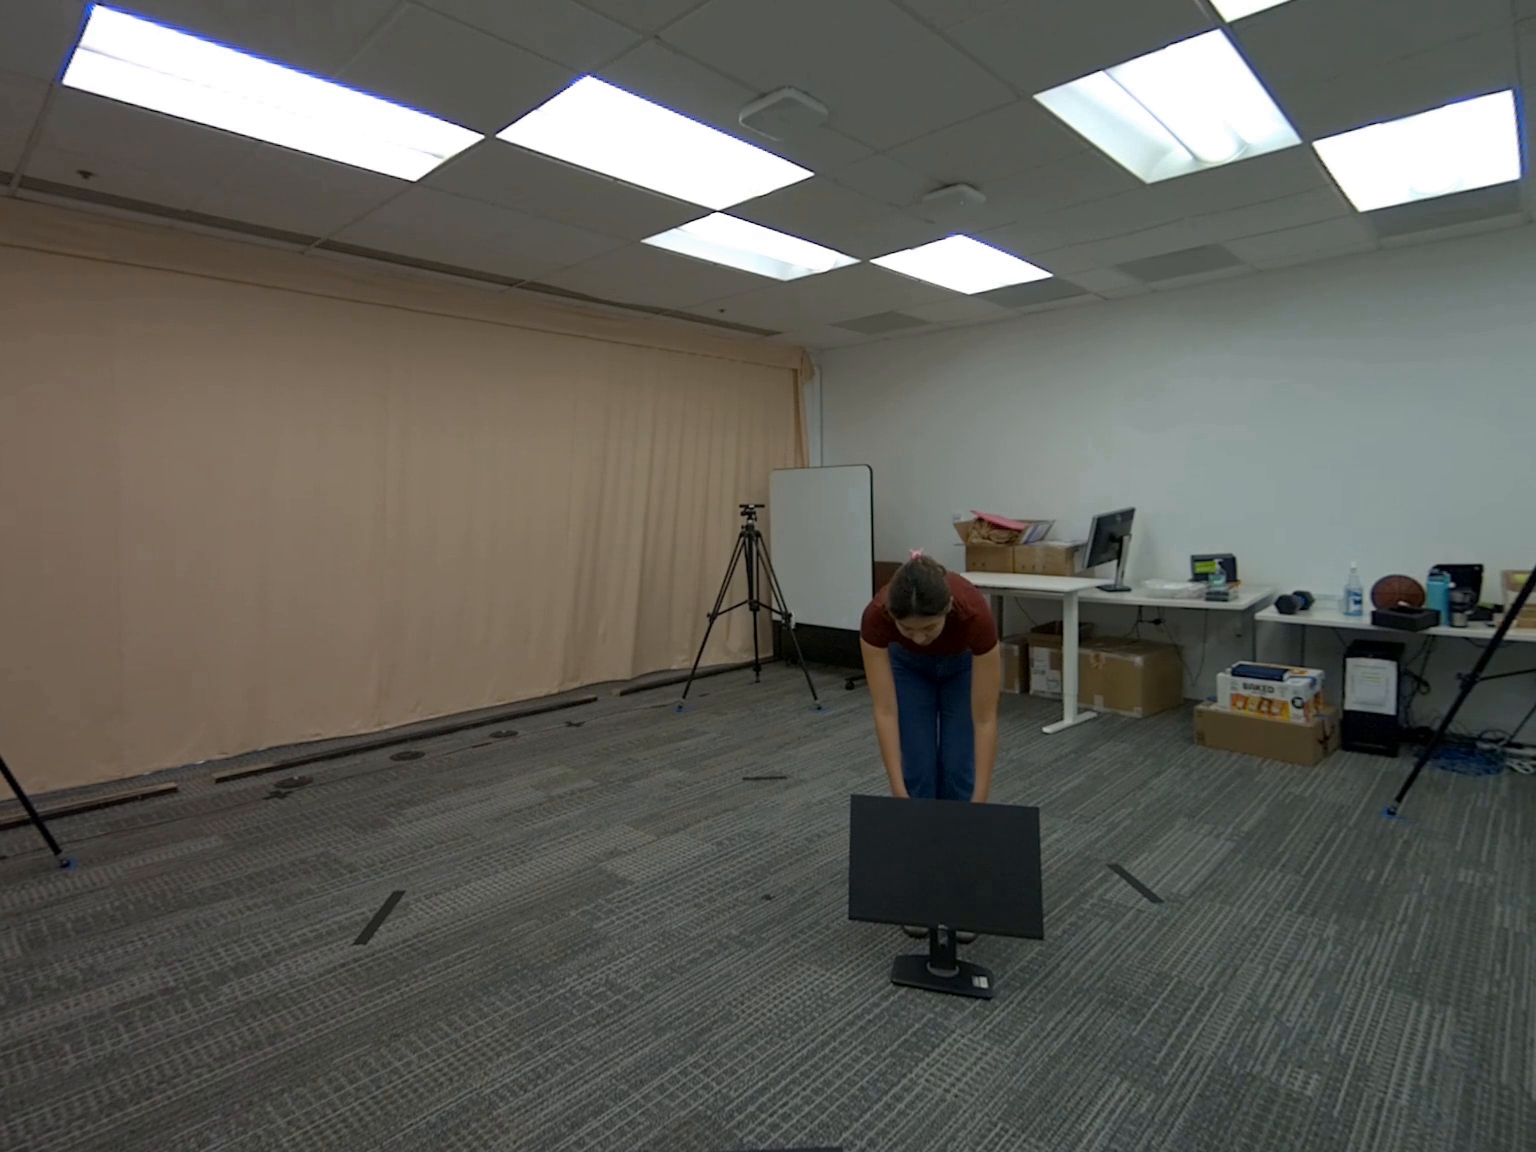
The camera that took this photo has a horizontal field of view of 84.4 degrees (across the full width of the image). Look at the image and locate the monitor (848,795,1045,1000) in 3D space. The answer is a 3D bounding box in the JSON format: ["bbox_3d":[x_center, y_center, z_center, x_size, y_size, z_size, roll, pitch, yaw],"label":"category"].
[{"bbox_3d":[0.508,0.921,2.463,0.547,0.522,0.184,0,0,13],"label":"monitor"}]
